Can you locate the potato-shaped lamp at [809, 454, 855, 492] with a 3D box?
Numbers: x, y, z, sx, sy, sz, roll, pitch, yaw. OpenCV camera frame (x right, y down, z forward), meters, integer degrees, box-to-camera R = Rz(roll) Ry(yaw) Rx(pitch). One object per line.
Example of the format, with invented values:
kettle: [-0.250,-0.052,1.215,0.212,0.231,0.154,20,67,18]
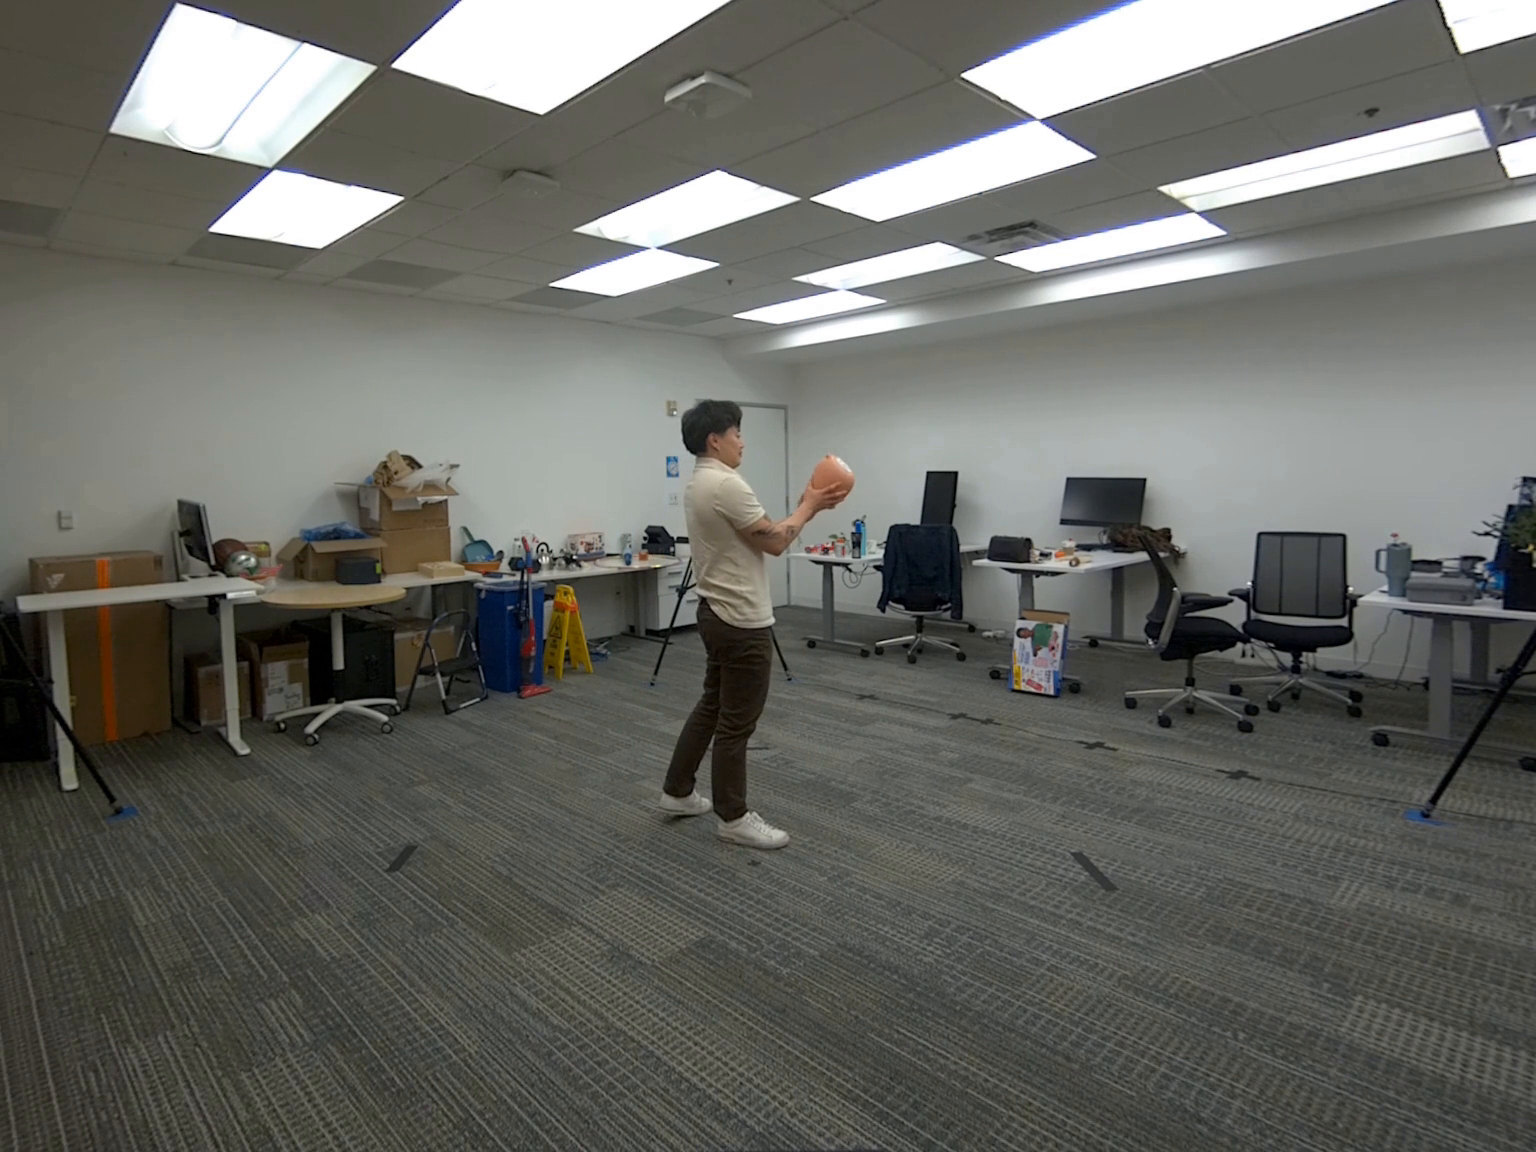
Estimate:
potato-shaped lamp: [0.230,-0.364,3.365,0.198,0.175,0.161,-43,-15,20]
